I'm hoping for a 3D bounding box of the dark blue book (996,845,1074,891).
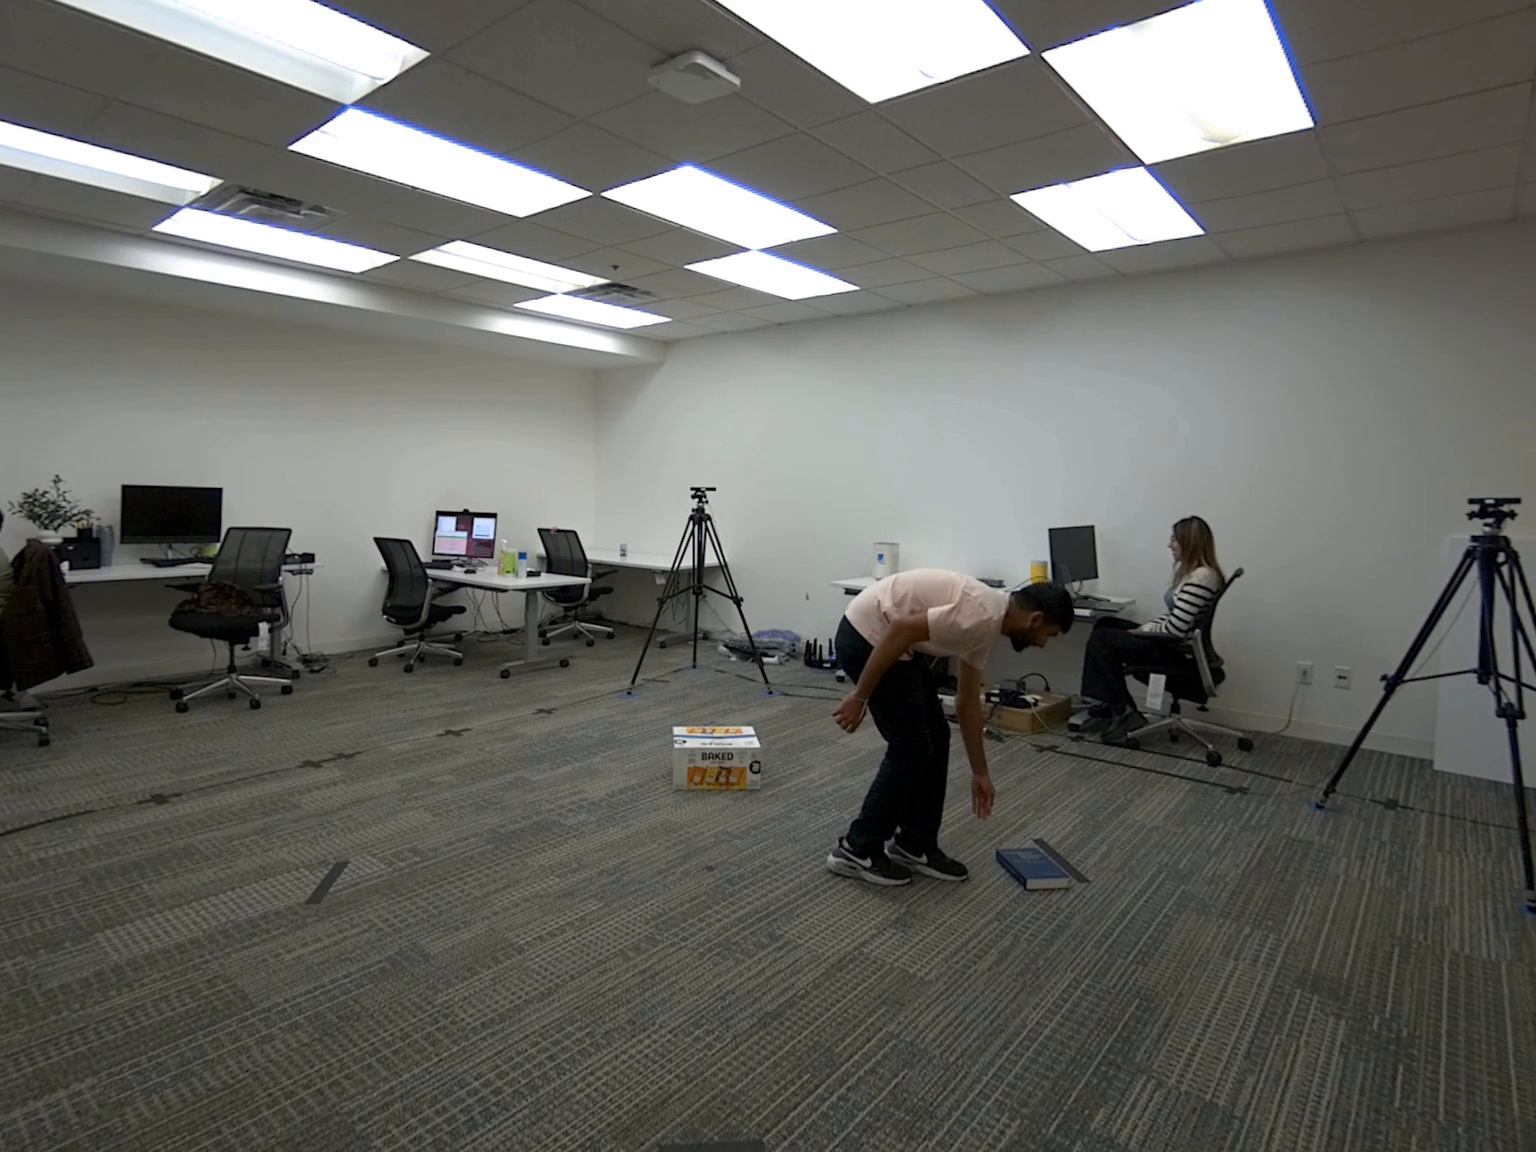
[{"bbox_3d":[0.963,1.071,3.121,0.162,0.045,0.248,1,6,-10],"label":"dark blue book"}]
